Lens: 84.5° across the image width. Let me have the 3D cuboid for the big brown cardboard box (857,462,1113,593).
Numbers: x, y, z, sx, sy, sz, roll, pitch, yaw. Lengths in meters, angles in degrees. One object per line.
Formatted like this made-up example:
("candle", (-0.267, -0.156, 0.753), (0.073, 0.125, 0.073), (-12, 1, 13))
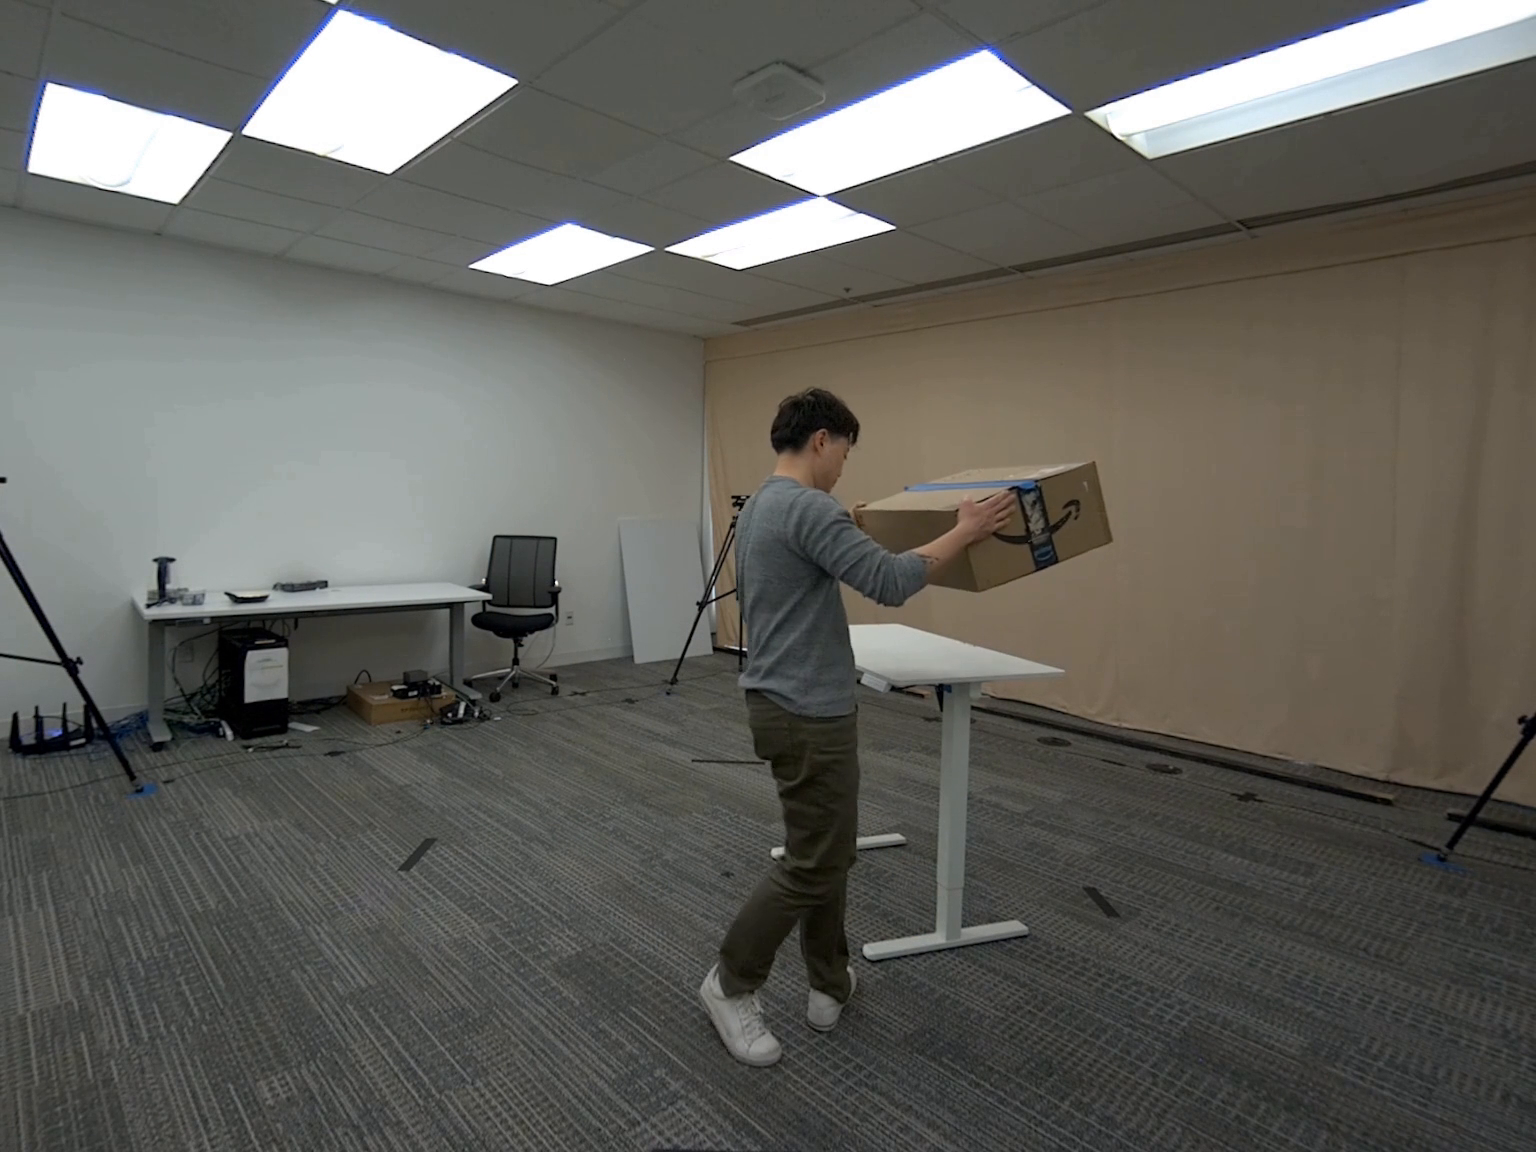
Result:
("big brown cardboard box", (0.560, -0.150, 2.335), (0.414, 0.231, 0.598), (-18, 9, -17))
